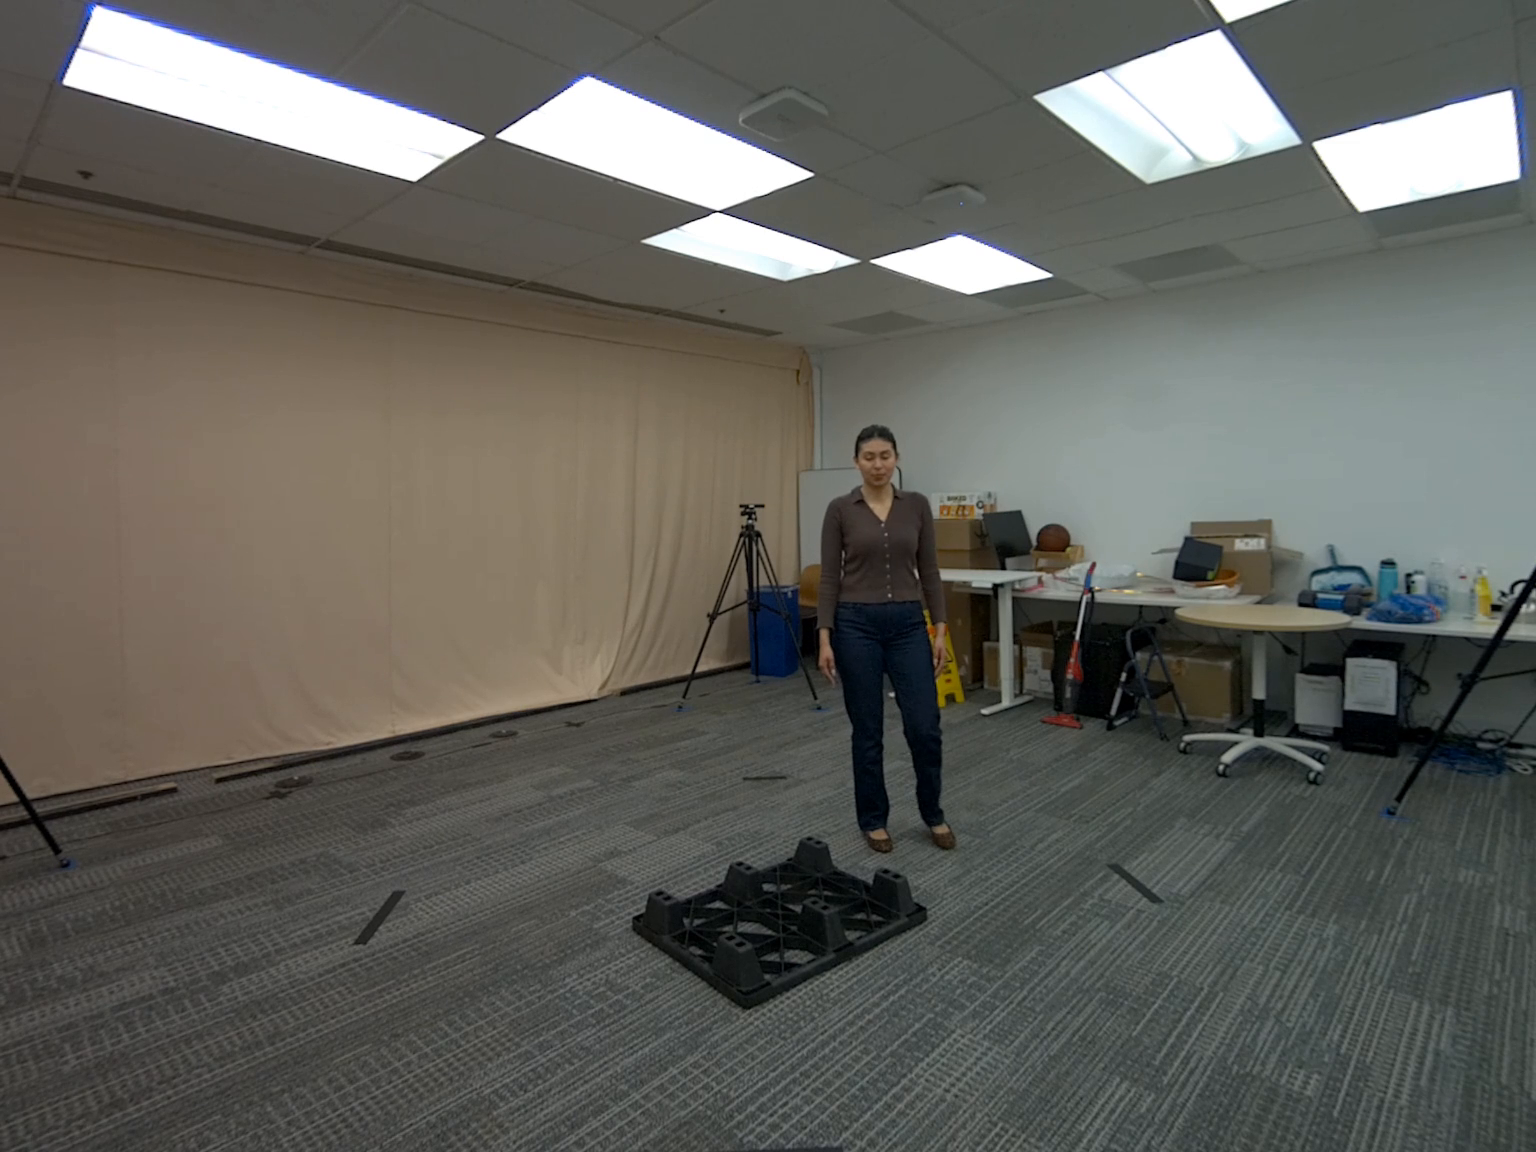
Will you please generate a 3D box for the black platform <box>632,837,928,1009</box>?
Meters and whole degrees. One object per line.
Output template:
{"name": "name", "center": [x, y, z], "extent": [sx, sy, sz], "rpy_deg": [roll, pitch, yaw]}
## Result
{"name": "black platform", "center": [0.043, 1.087, 2.791], "extent": [0.781, 0.143, 0.625], "rpy_deg": [-5, 6, -40]}
